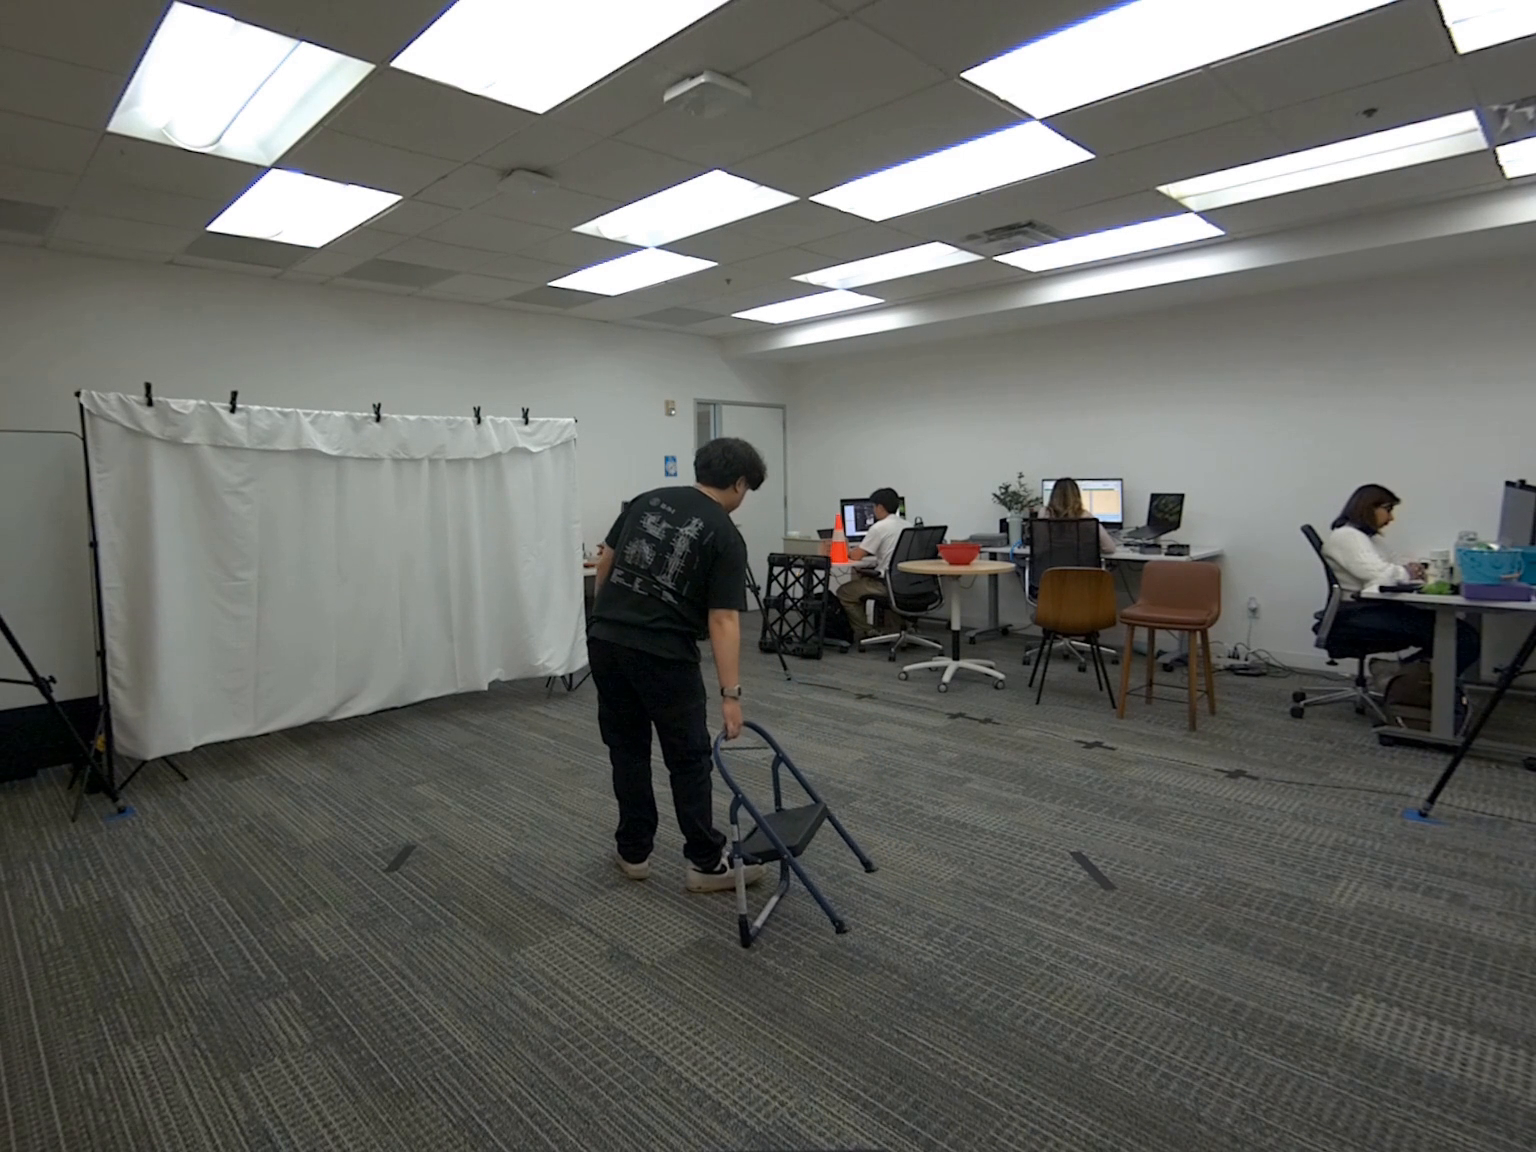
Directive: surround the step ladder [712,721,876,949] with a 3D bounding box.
[{"bbox_3d":[0.048,0.752,2.690,0.353,0.608,0.424,-20,-3,21],"label":"step ladder"}]
